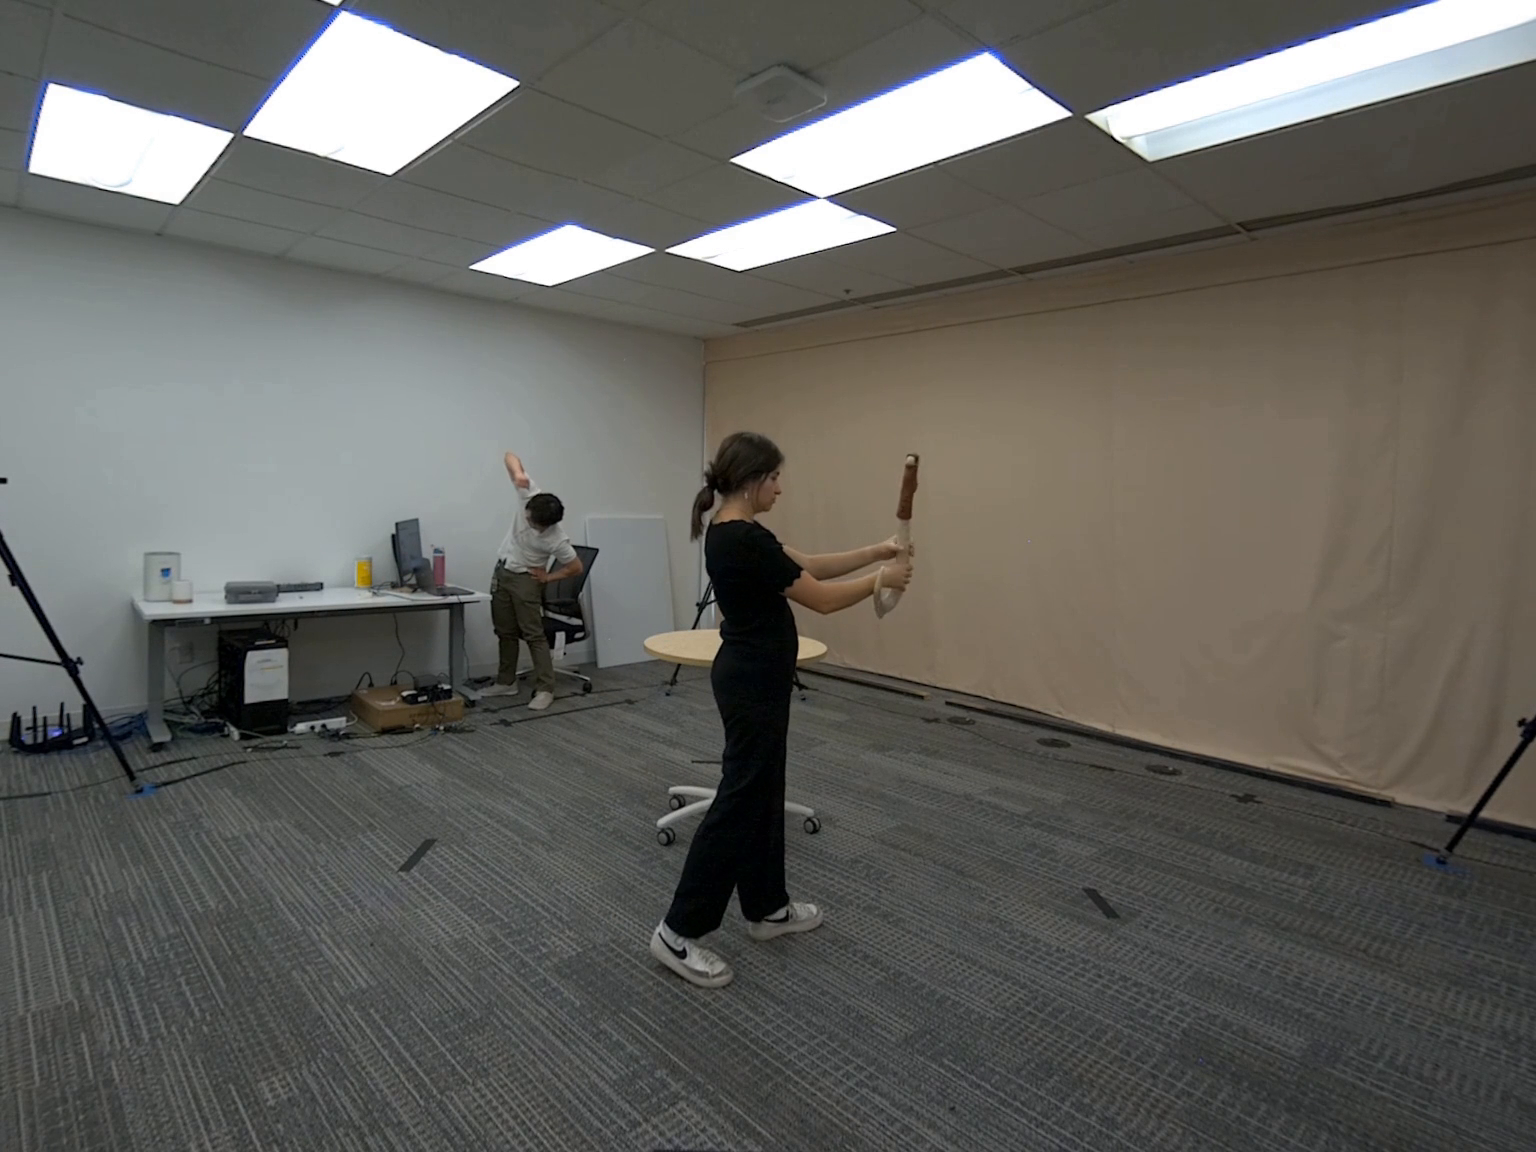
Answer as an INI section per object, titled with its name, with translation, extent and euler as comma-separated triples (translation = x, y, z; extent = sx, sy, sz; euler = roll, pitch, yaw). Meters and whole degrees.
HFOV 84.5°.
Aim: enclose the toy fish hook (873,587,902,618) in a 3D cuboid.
[toy fish hook]
translation = 0.378, -0.106, 2.476
extent = 0.049, 0.498, 0.223
euler = 13, 27, 23
